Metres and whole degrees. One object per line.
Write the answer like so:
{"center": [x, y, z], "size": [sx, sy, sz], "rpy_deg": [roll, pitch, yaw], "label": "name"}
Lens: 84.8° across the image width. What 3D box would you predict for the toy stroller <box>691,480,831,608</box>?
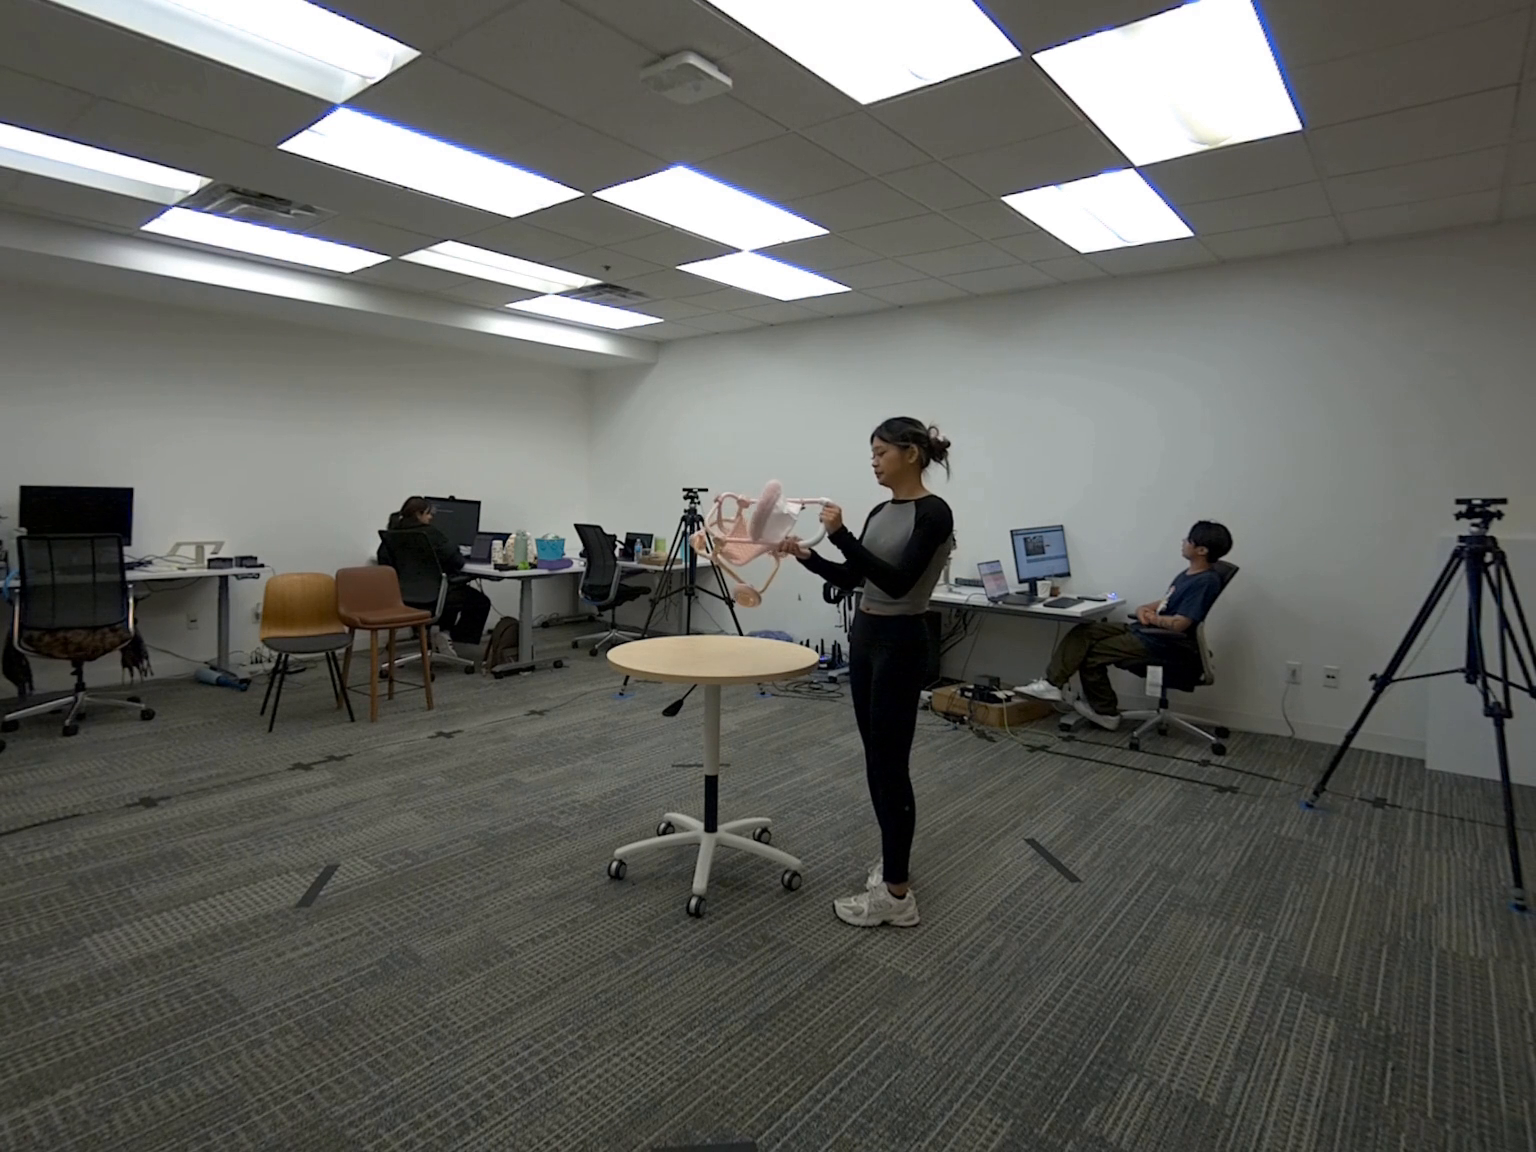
{"center": [-0.062, -0.146, 2.850], "size": [0.340, 0.283, 0.534], "rpy_deg": [37, -36, -4], "label": "toy stroller"}
